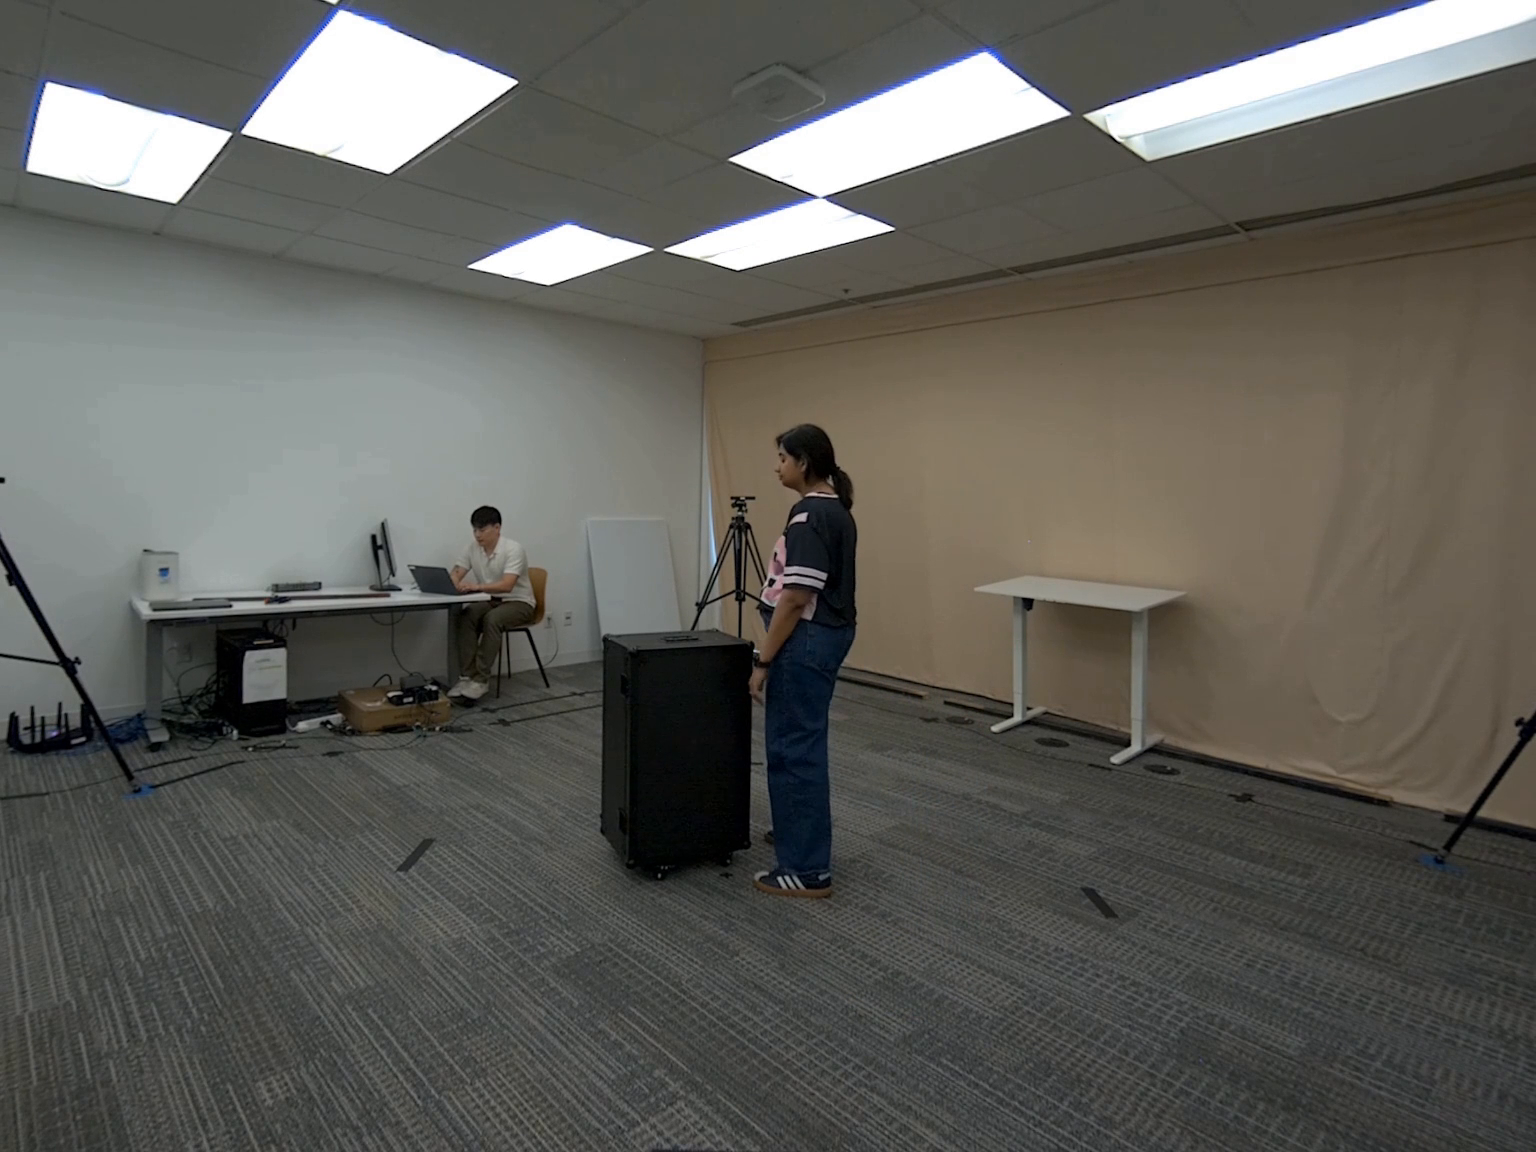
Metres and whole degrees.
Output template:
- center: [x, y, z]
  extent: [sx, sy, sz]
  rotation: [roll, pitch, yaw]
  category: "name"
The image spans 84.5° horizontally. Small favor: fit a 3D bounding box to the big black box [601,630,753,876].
- center: [-0.367, 0.664, 3.217]
  extent: [0.514, 0.867, 0.393]
  rotation: [0, 3, -26]
  category: "big black box"
